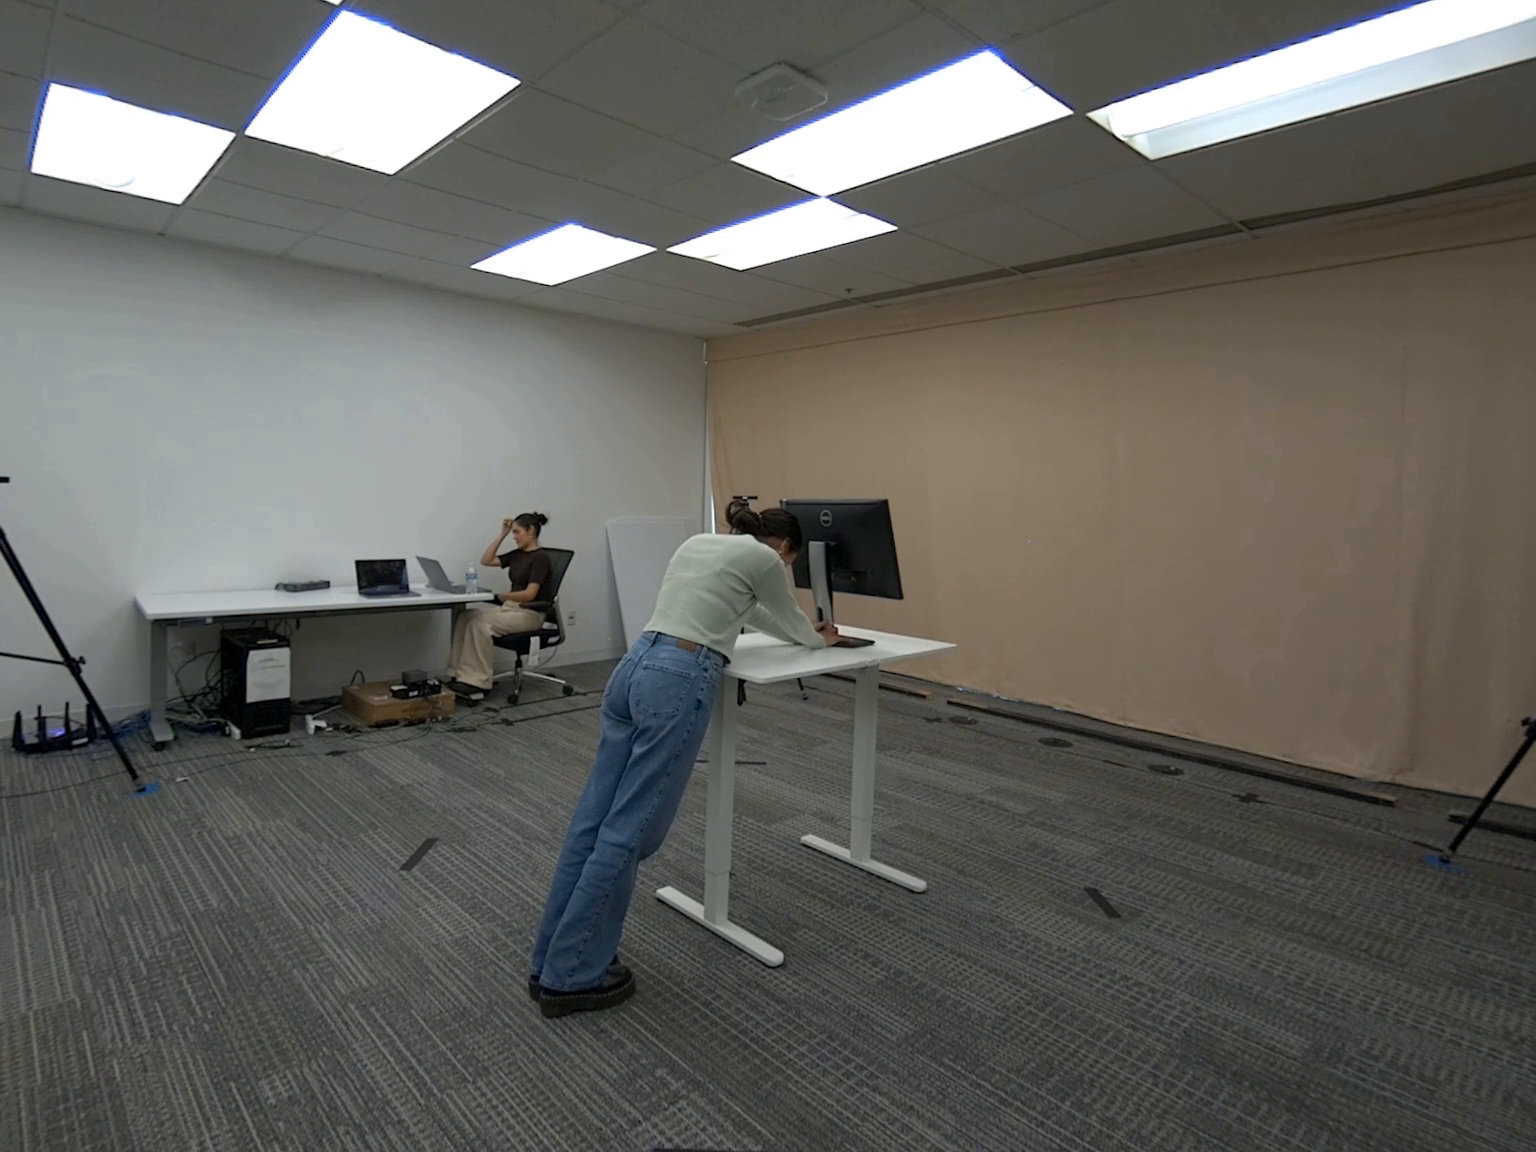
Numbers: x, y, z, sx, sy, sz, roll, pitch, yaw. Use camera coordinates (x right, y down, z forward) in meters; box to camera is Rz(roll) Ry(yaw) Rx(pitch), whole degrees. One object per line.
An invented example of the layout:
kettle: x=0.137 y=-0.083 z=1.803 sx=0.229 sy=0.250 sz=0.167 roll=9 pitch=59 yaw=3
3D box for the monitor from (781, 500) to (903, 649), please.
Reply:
monitor: x=0.227 y=-0.014 z=3.017 sx=0.183 sy=0.521 sz=0.553 roll=-4 pitch=6 yaw=-41
